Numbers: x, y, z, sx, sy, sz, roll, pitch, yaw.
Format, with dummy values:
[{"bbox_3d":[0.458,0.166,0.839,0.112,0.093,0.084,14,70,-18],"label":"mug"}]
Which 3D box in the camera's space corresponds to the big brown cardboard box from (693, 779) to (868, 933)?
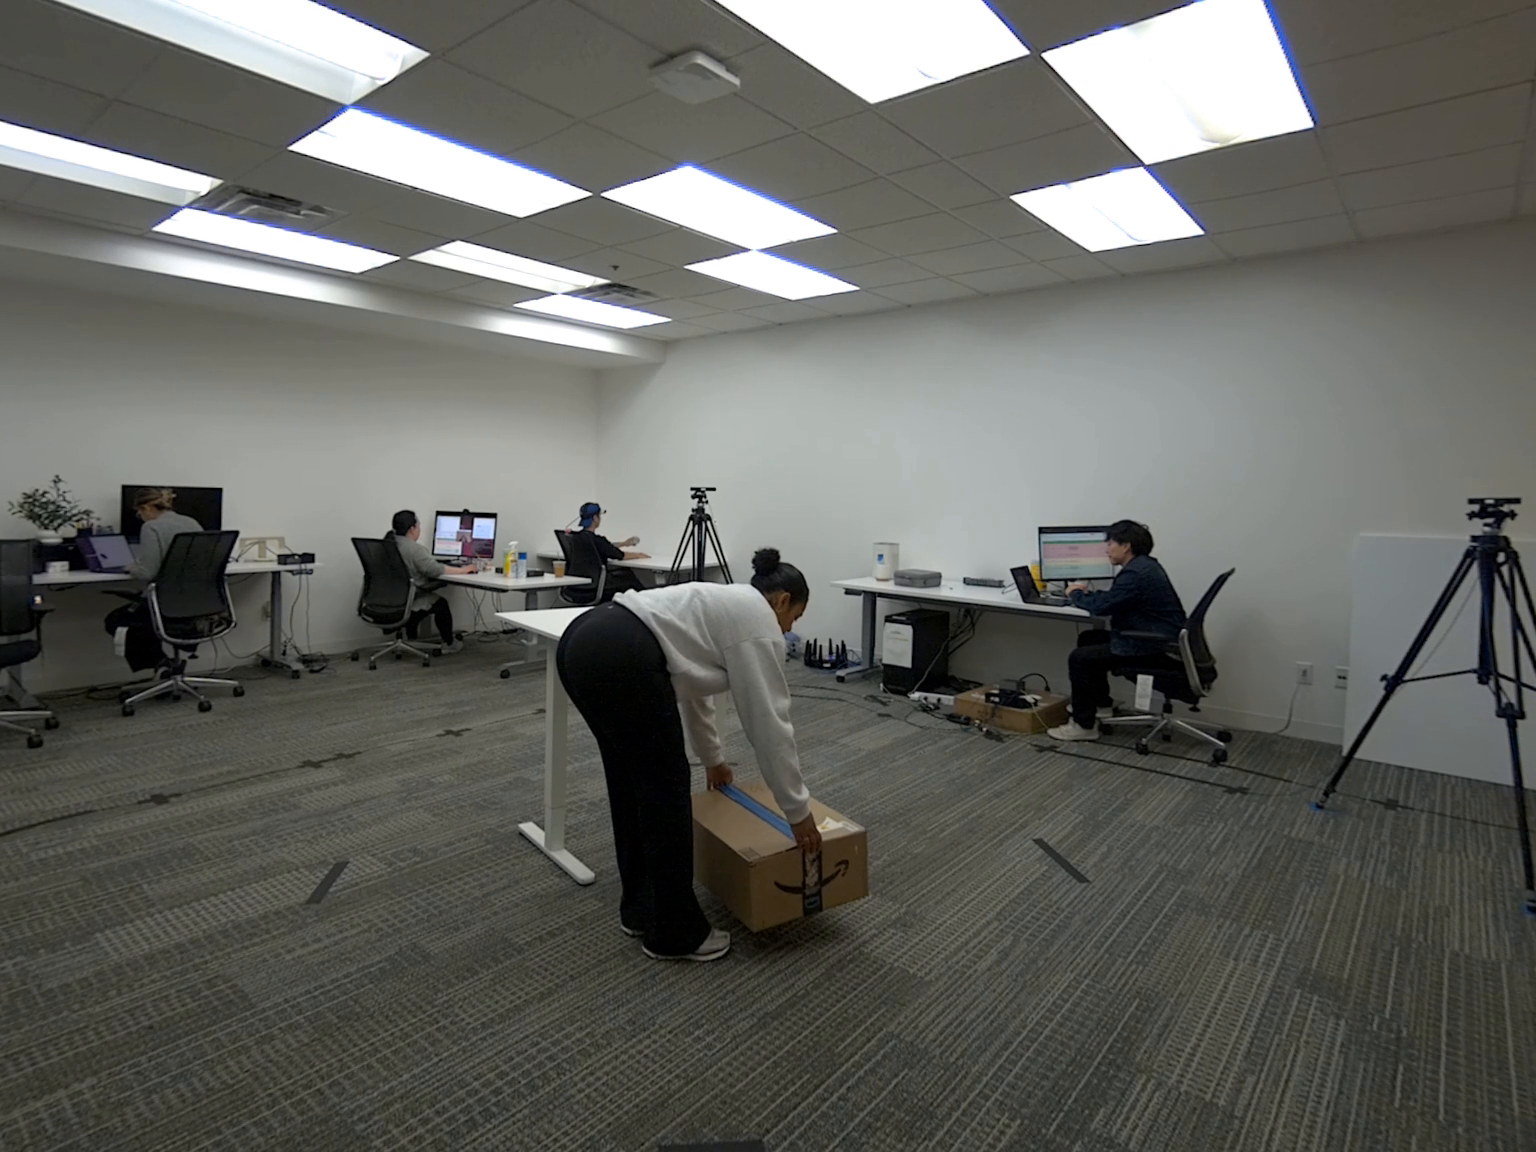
[{"bbox_3d":[-0.018,0.875,2.793,0.407,0.232,0.607,-6,8,-29],"label":"big brown cardboard box"}]
